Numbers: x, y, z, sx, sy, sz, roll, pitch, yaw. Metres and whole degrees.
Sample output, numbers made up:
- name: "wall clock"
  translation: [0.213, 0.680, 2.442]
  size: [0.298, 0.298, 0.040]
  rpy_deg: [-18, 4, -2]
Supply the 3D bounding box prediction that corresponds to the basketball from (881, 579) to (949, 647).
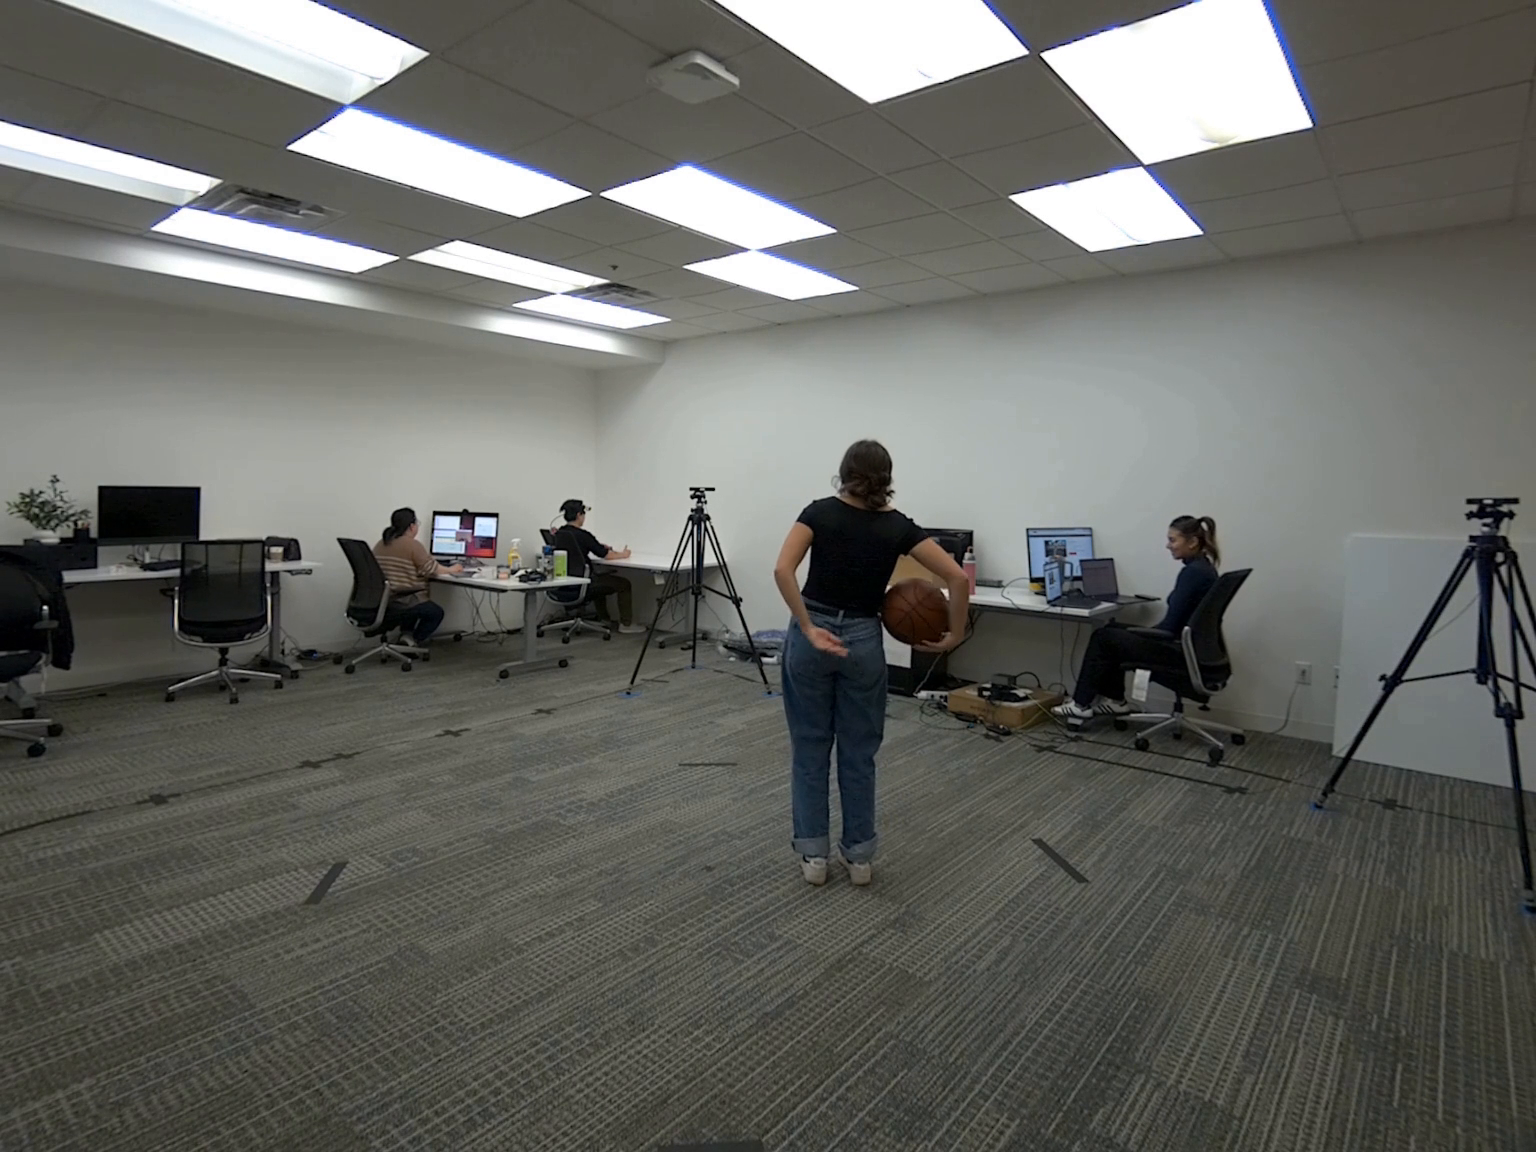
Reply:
- name: "basketball"
  translation: [0.505, 0.131, 3.019]
  size: [0.235, 0.235, 0.237]
  rpy_deg: [1, 4, -2]
